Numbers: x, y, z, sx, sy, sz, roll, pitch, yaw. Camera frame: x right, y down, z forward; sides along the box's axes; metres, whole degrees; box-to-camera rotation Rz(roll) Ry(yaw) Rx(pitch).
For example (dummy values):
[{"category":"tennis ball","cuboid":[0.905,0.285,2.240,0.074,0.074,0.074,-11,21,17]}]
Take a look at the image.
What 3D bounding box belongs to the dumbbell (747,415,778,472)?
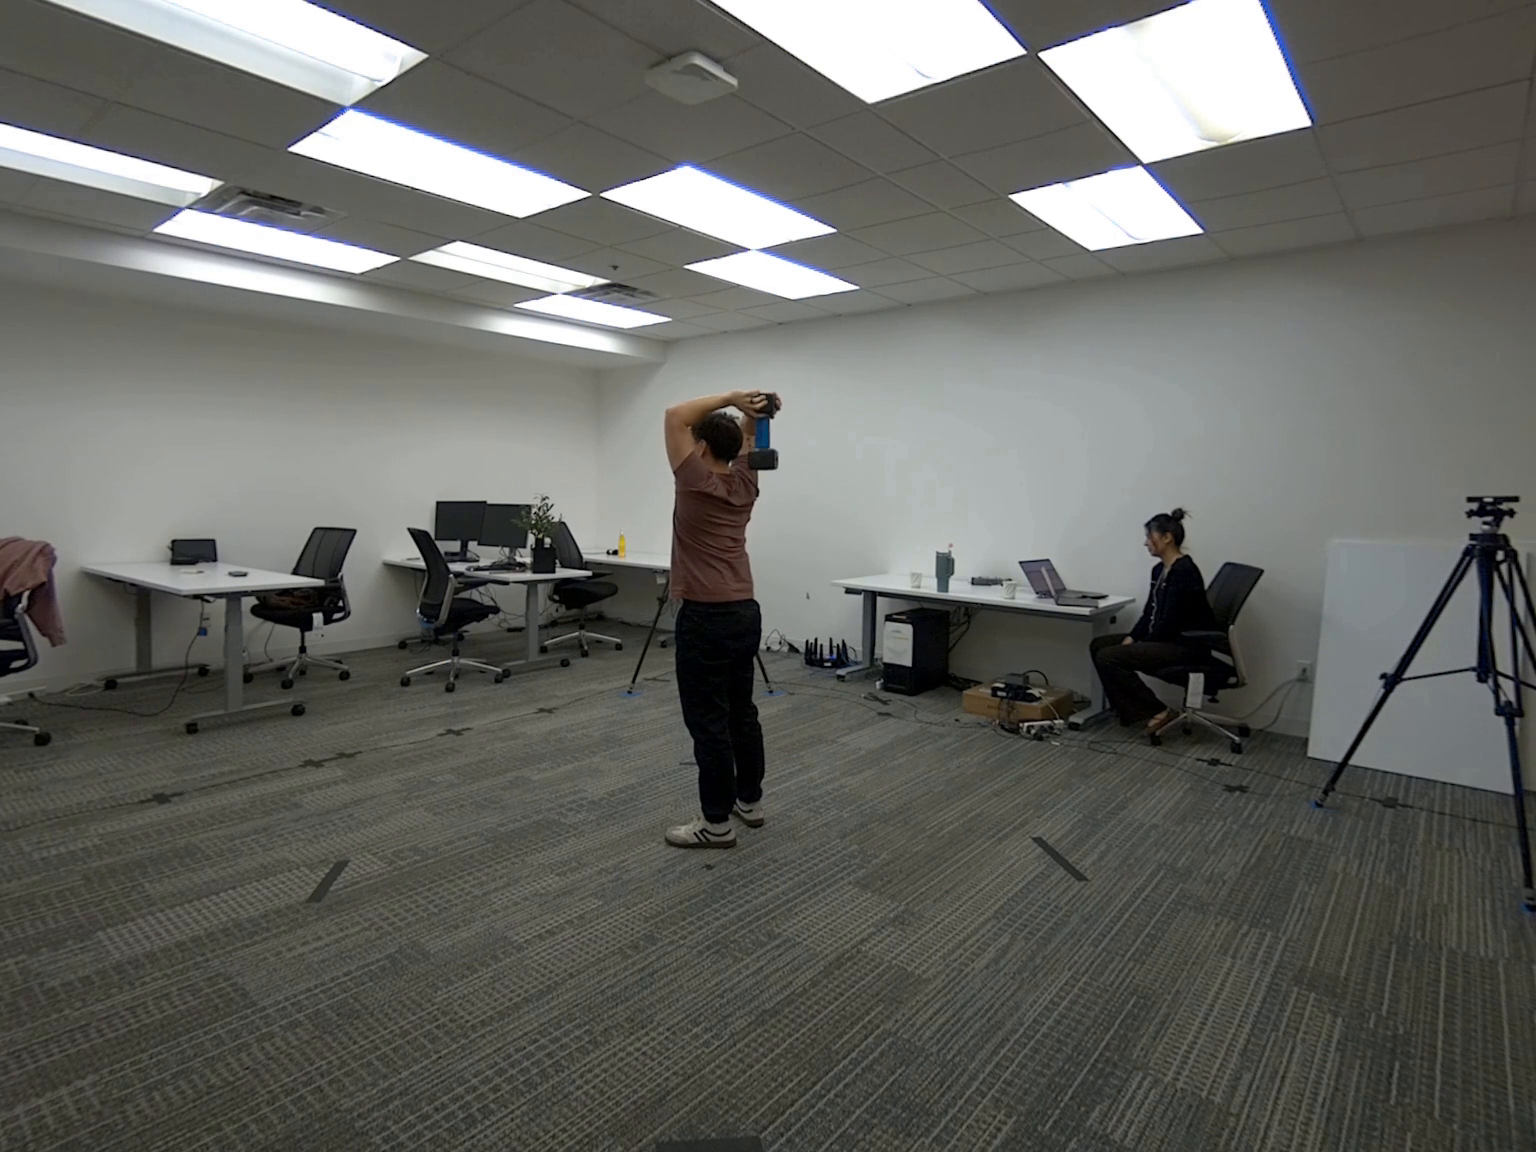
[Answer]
[{"category":"dumbbell","cuboid":[-0.036,-0.563,3.283,0.105,0.293,0.127,-5,2,-40]}]
